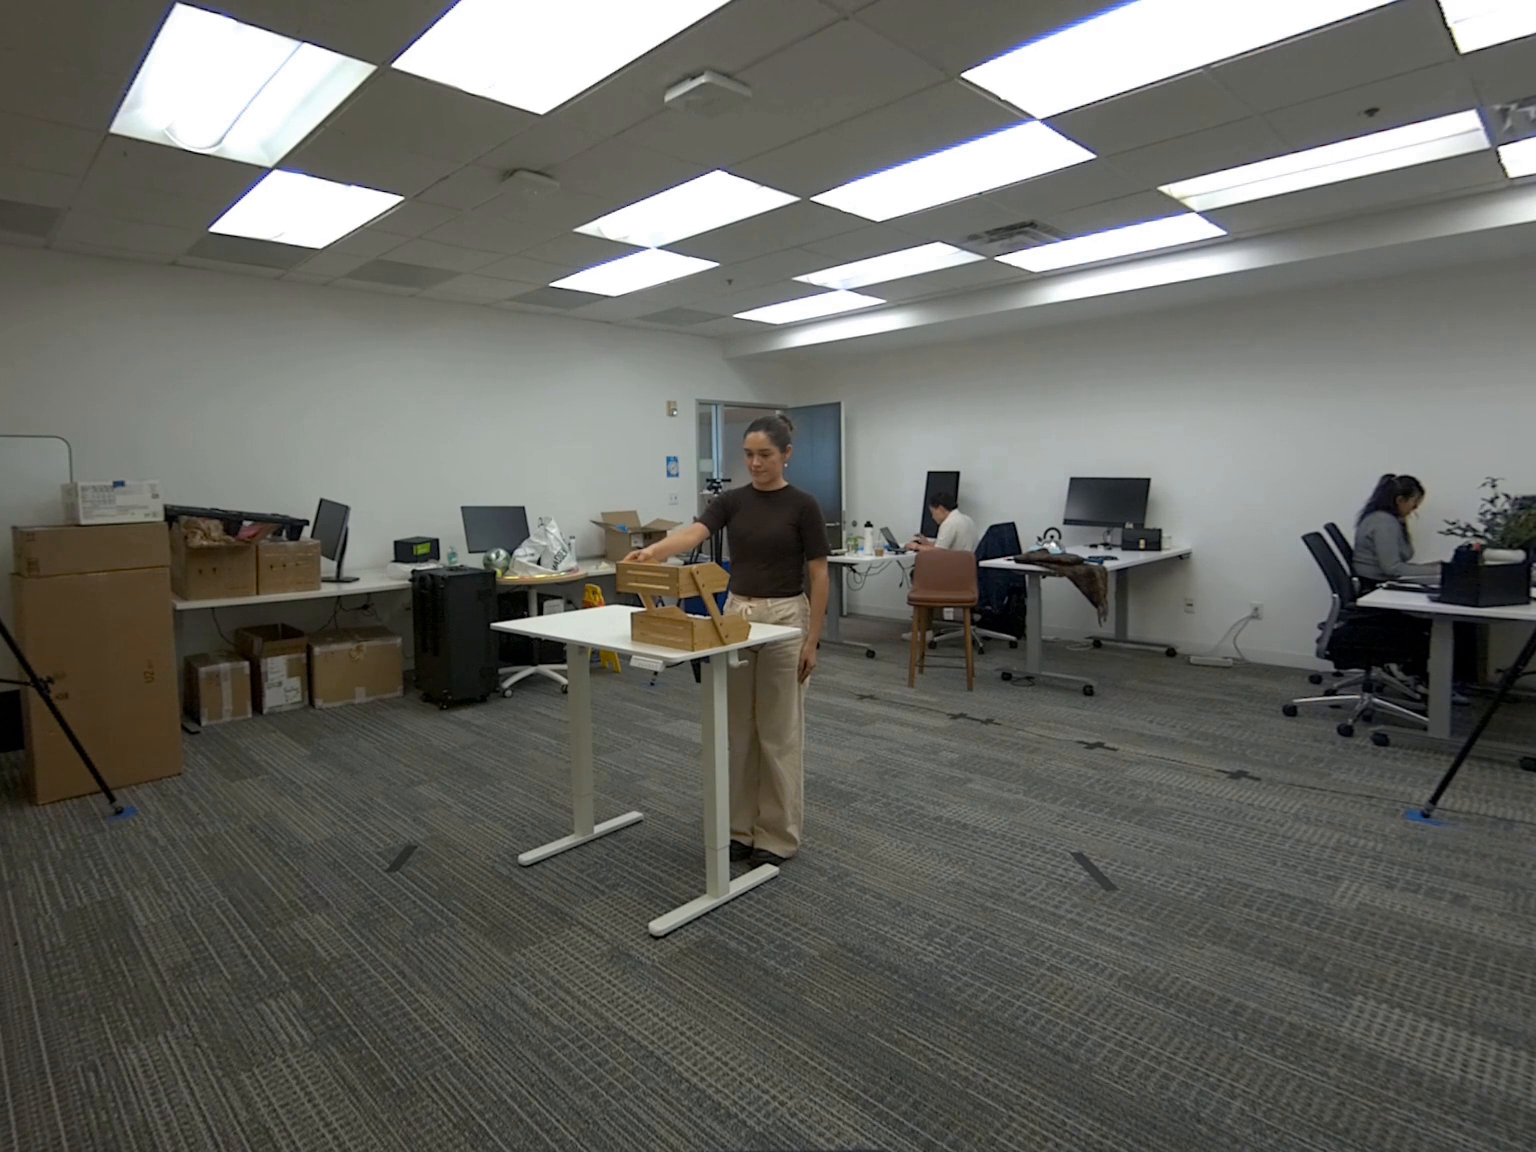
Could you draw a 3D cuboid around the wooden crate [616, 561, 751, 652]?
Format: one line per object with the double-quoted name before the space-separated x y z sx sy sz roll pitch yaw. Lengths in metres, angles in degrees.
"wooden crate" -0.263 0.078 2.709 0.334 0.272 0.294 3 8 43
